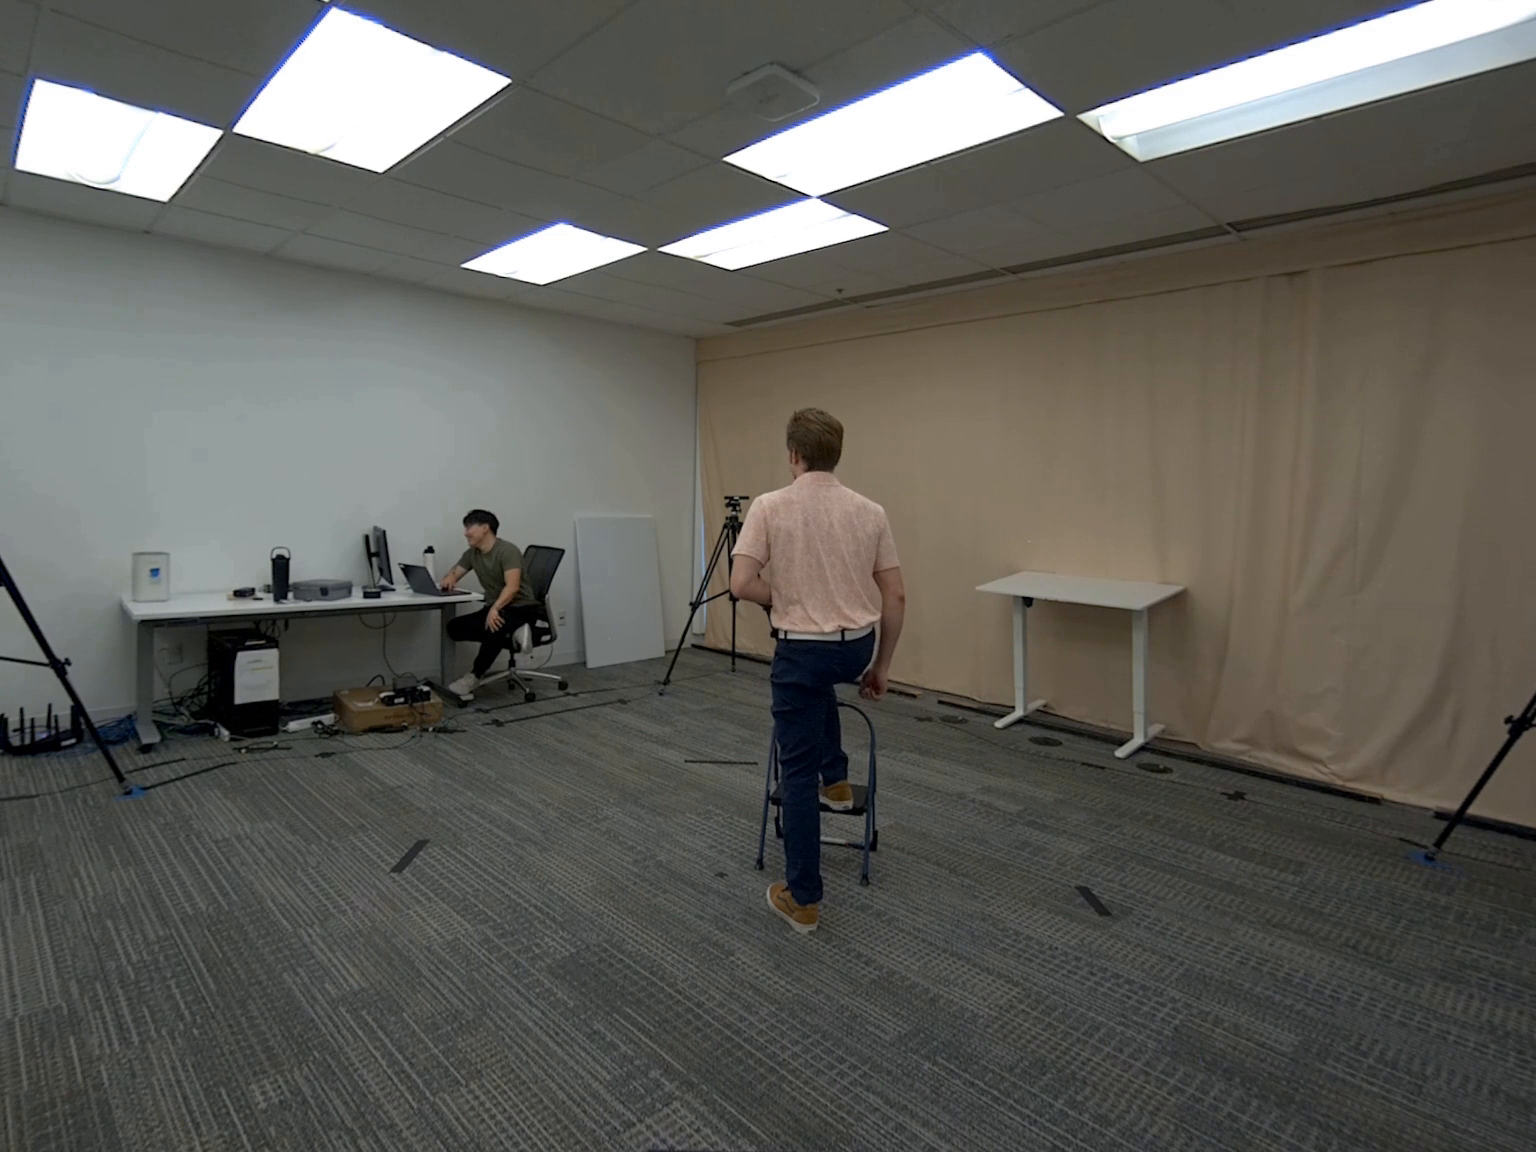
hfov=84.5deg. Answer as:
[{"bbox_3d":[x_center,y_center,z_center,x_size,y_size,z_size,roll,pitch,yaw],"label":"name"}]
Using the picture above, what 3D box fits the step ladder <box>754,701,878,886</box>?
[{"bbox_3d":[0.201,0.798,3.252,0.436,0.605,0.345,3,3,15],"label":"step ladder"}]
